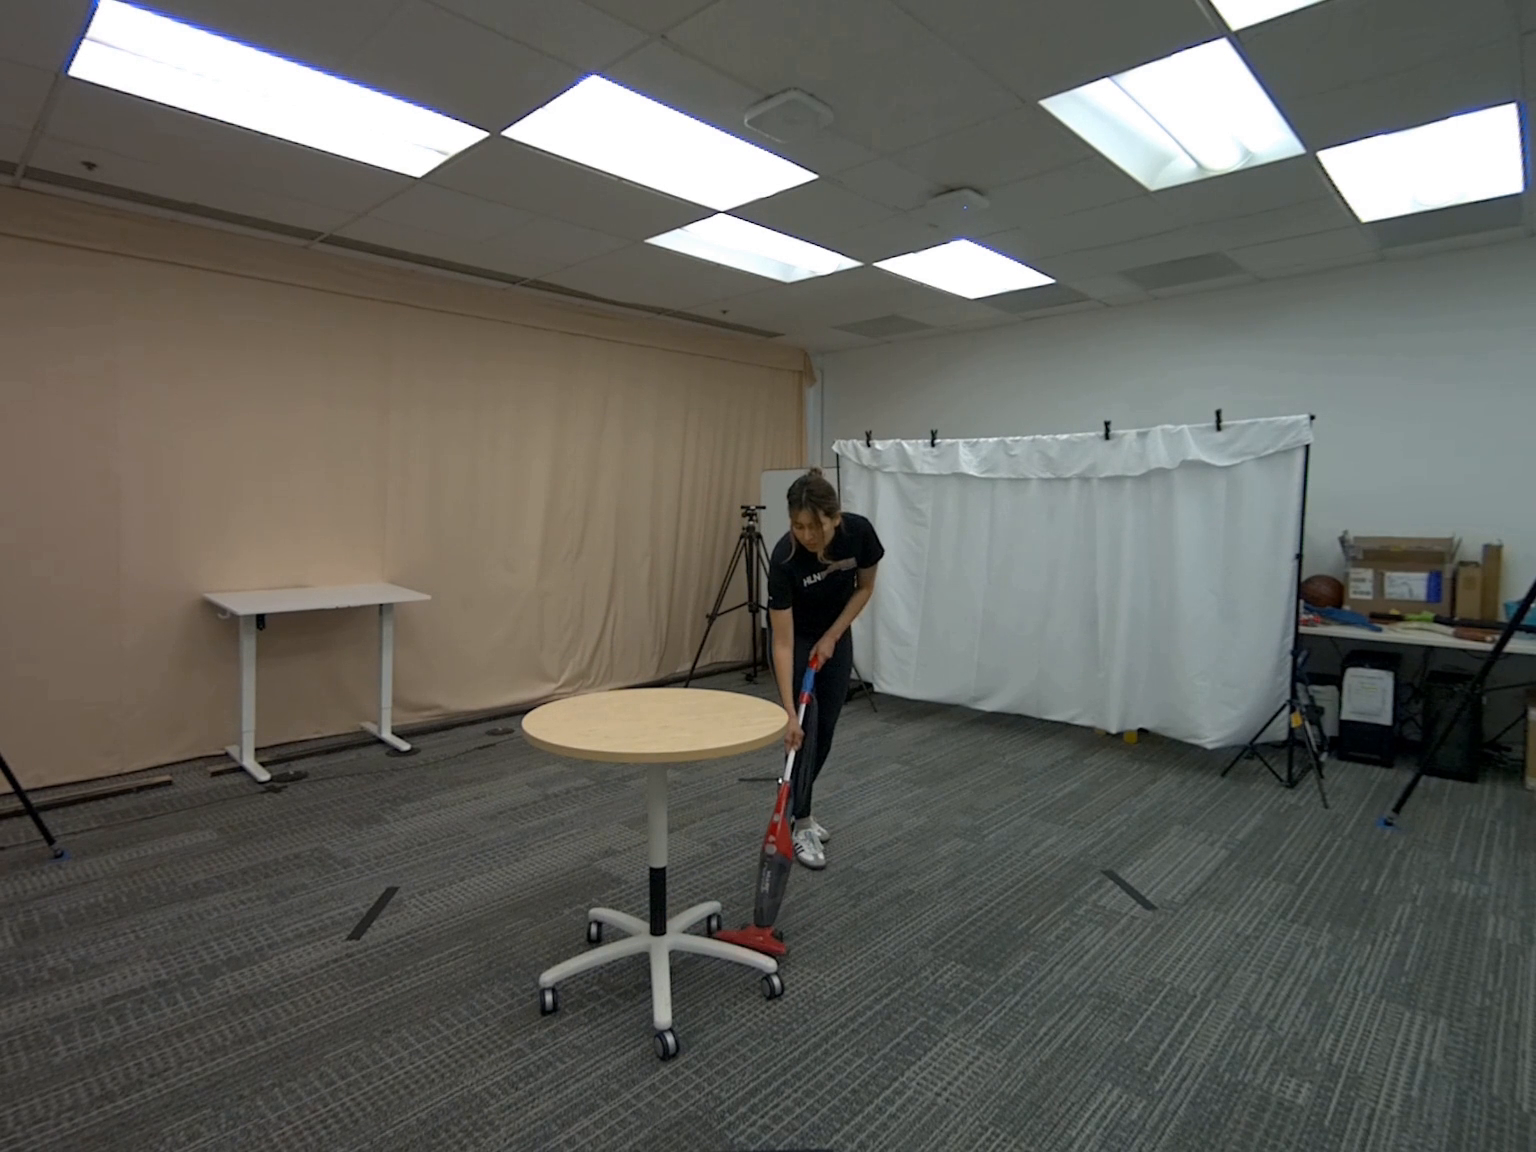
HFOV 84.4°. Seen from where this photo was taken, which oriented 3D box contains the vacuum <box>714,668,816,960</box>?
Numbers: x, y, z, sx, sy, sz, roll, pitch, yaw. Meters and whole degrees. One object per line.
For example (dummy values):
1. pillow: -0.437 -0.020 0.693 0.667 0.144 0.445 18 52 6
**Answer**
1. vacuum: 0.086 0.727 2.914 0.259 1.058 0.139 -5 -38 27
